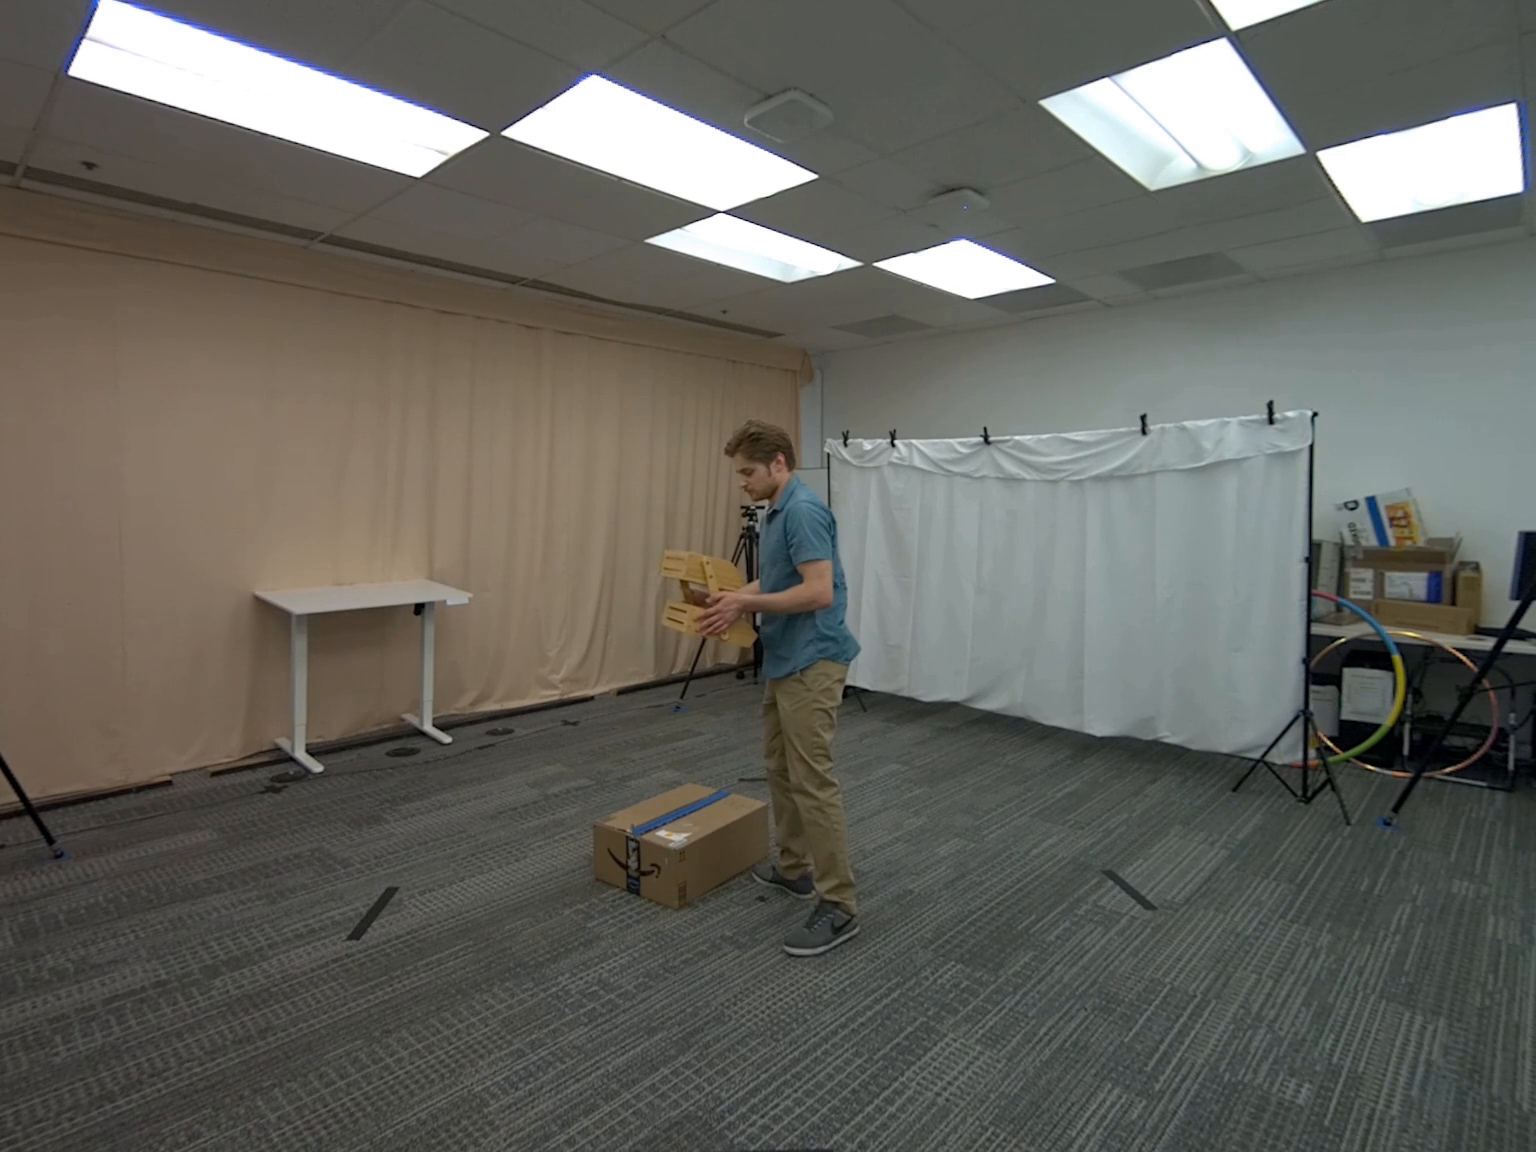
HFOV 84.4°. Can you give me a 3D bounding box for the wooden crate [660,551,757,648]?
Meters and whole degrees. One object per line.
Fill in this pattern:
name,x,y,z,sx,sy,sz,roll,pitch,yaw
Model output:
wooden crate,-0.199,0.073,2.908,0.295,0.273,0.331,14,-3,-21
